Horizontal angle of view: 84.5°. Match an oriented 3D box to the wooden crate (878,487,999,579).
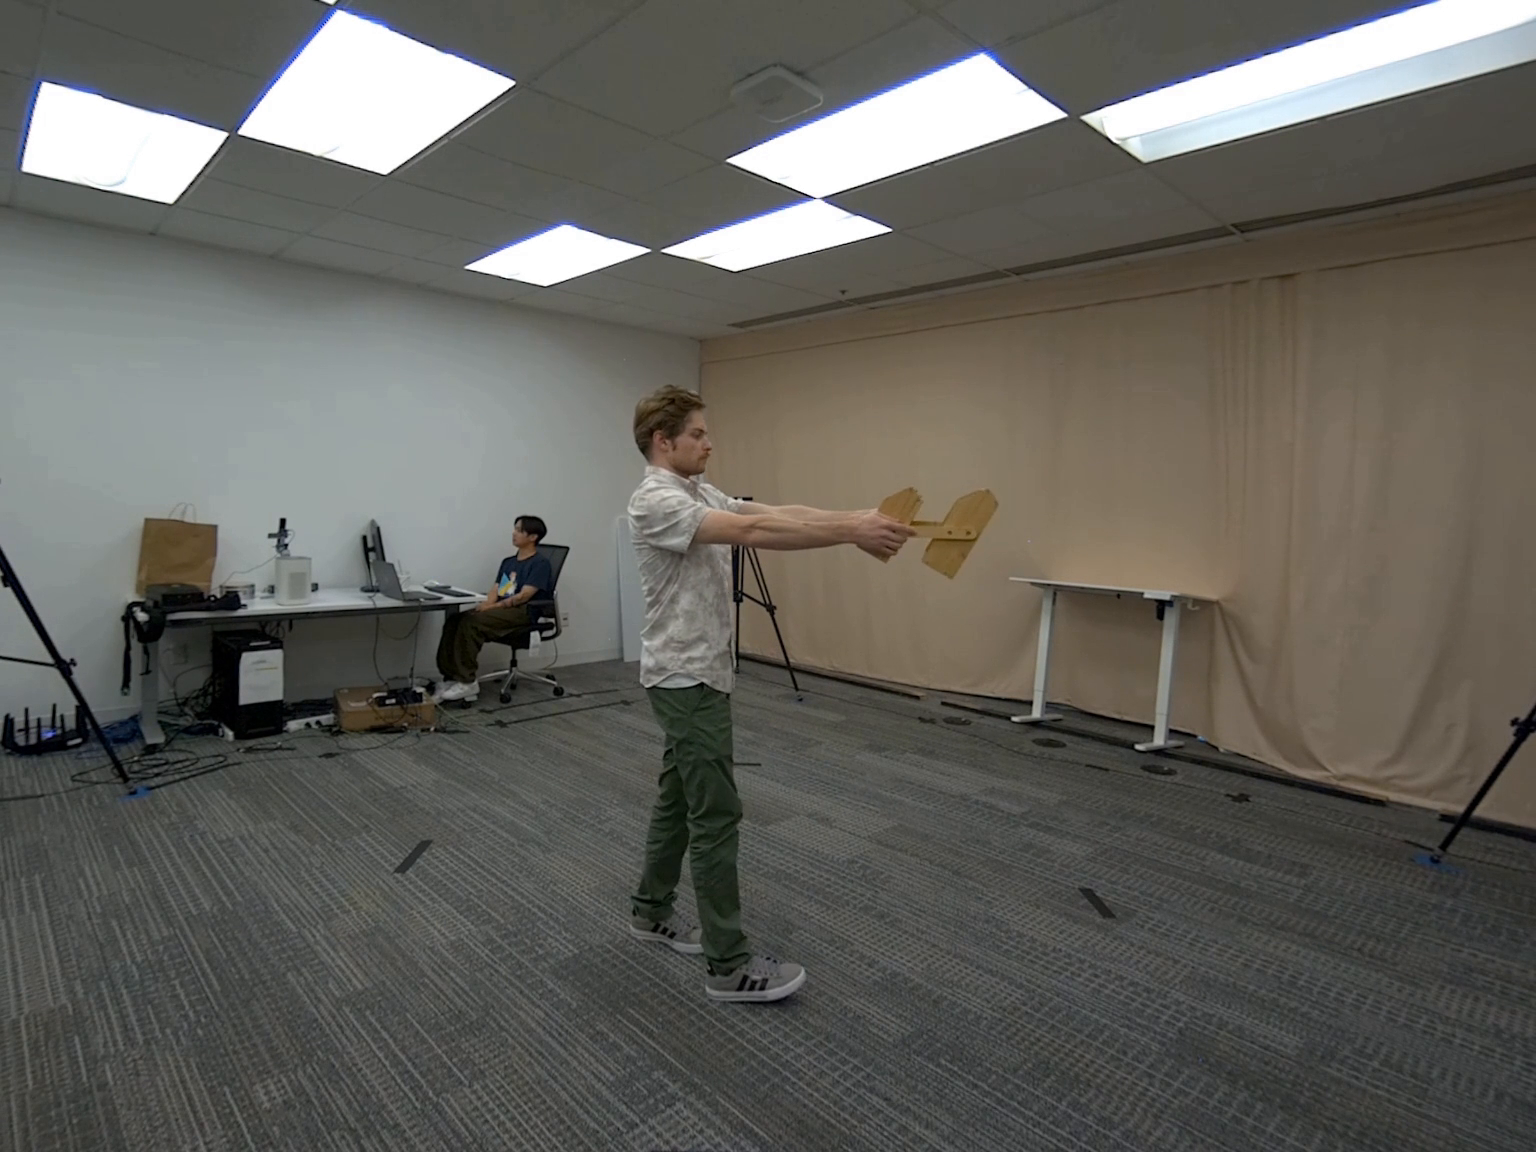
[{"bbox_3d":[0.440,-0.159,2.332,0.276,0.301,0.322,31,9,8],"label":"wooden crate"}]
